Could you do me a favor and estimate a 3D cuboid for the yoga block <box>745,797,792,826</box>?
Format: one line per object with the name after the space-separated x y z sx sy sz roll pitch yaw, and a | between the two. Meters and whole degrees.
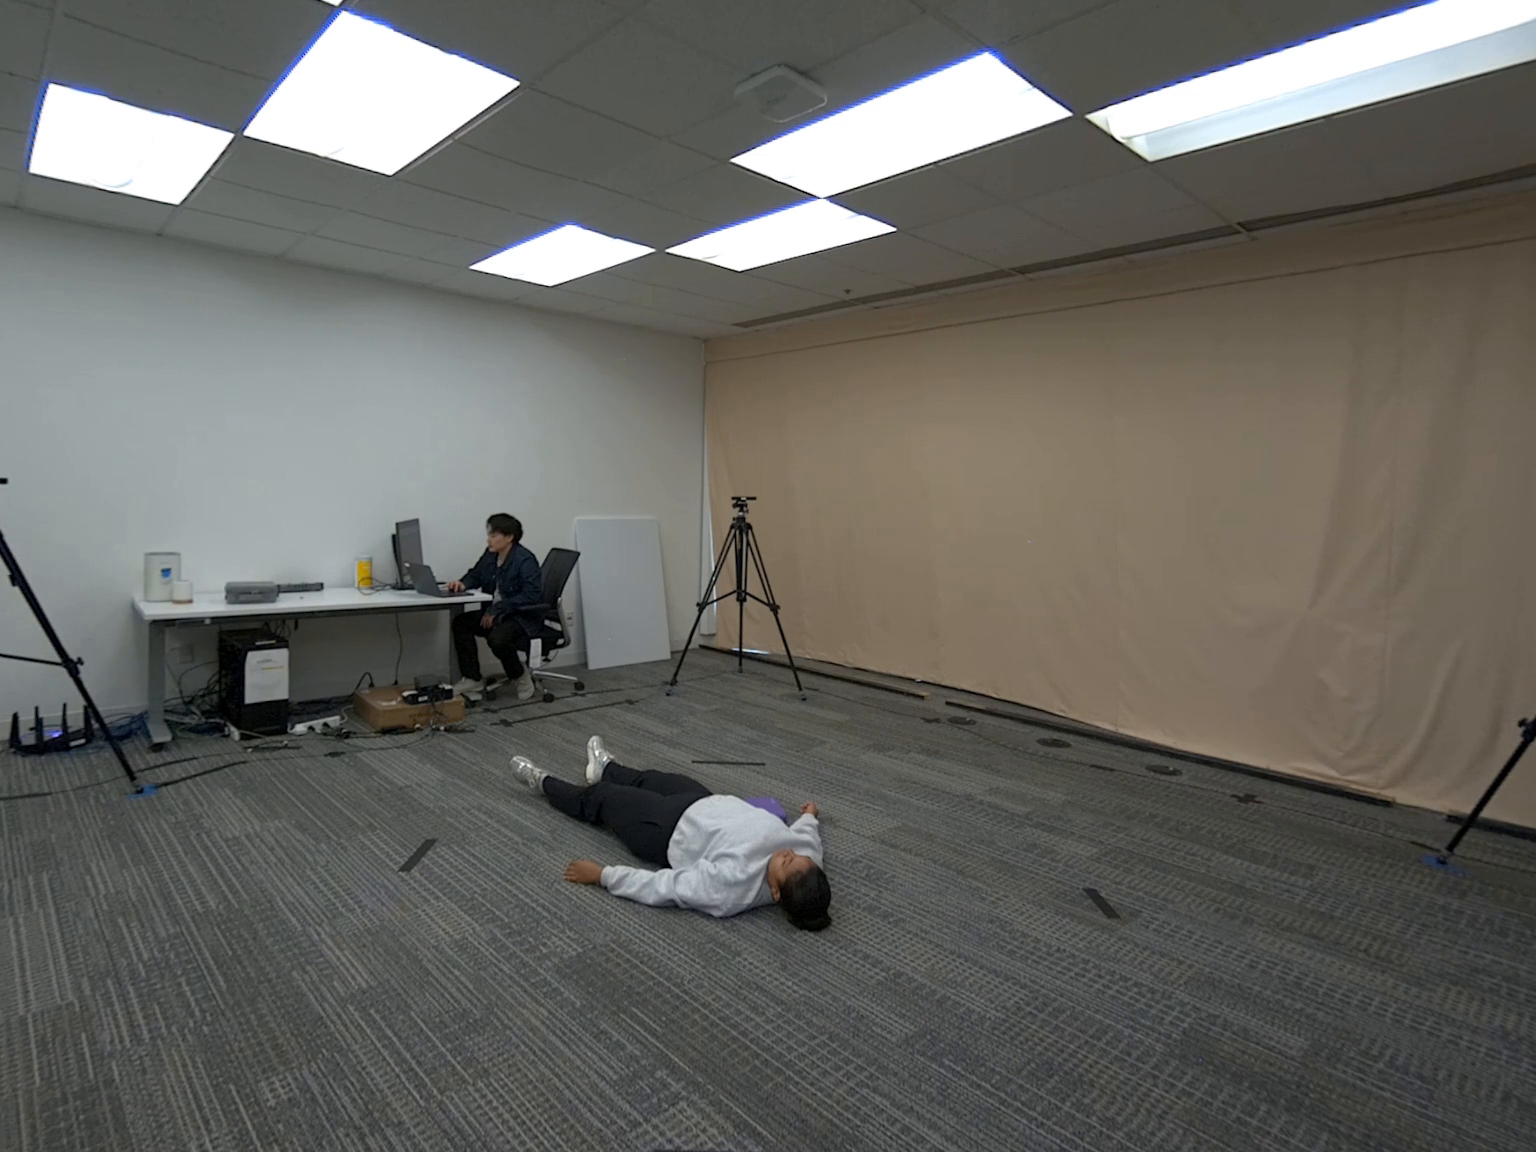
-0.025 1.026 3.621 0.148 0.076 0.232 0 5 -11 | yoga block
